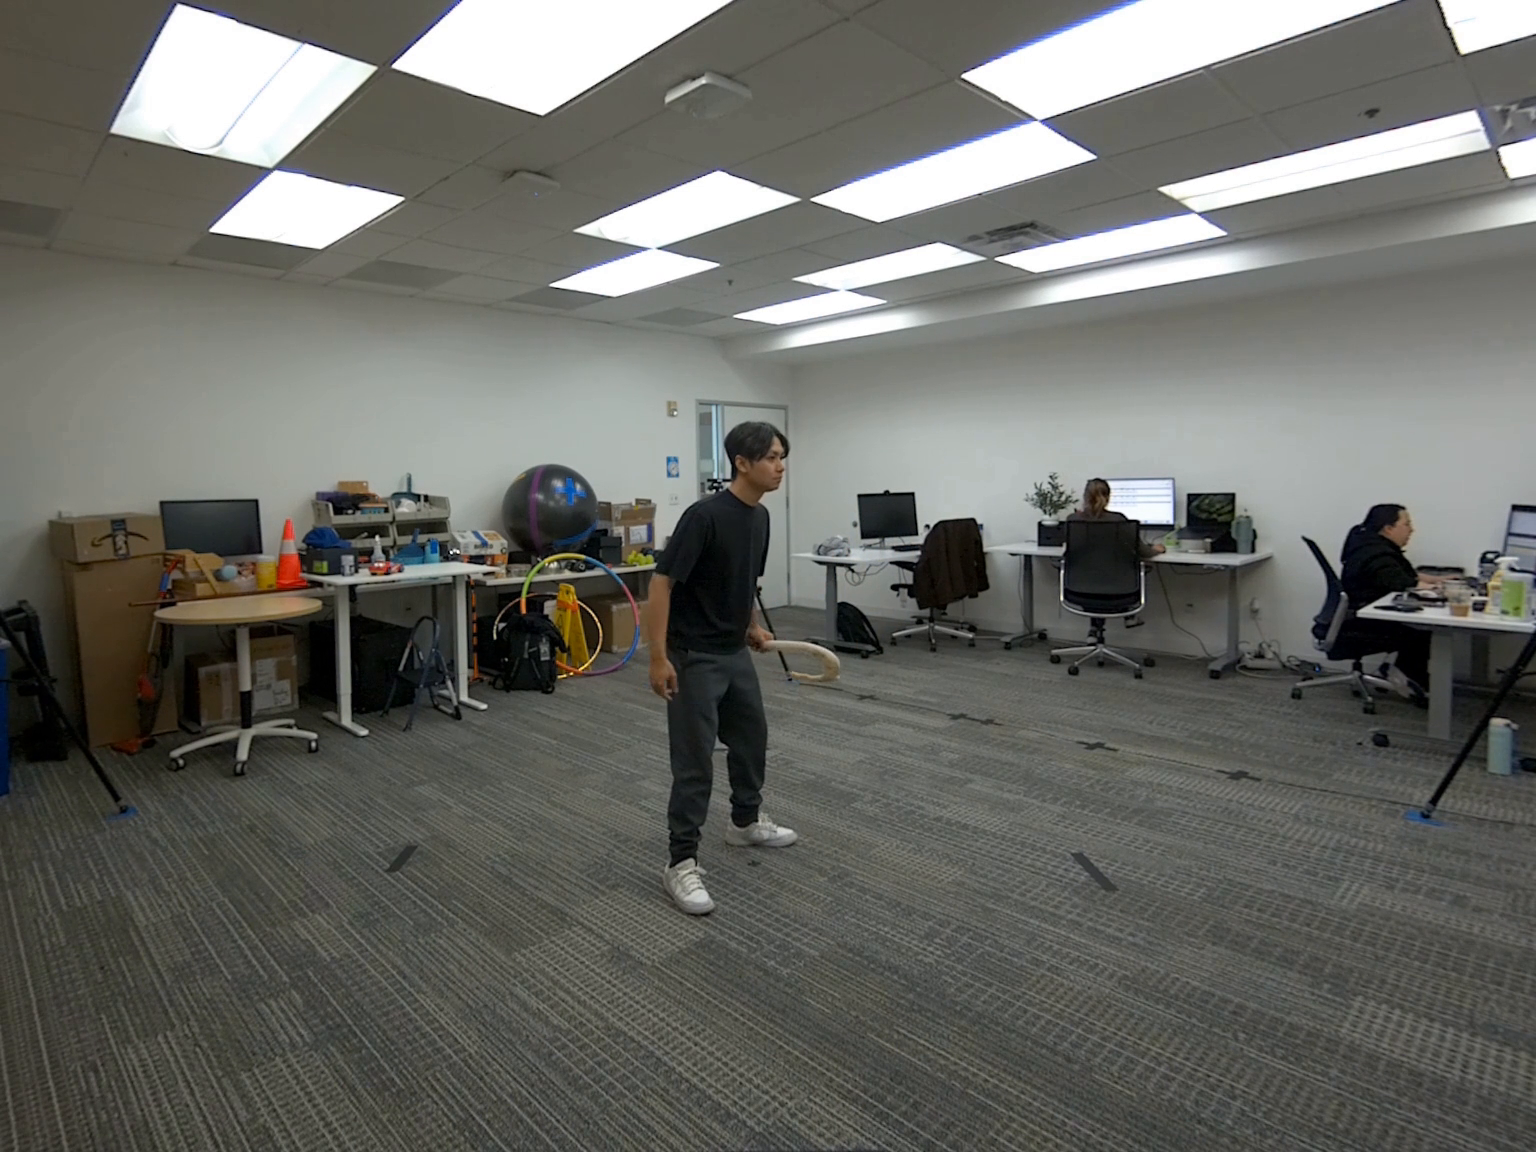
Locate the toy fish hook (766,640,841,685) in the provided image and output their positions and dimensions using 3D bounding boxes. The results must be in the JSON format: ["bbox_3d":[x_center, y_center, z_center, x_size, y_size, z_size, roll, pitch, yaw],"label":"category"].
[{"bbox_3d":[0.048,0.313,3.351,0.516,0.218,0.049,12,40,16],"label":"toy fish hook"}]
